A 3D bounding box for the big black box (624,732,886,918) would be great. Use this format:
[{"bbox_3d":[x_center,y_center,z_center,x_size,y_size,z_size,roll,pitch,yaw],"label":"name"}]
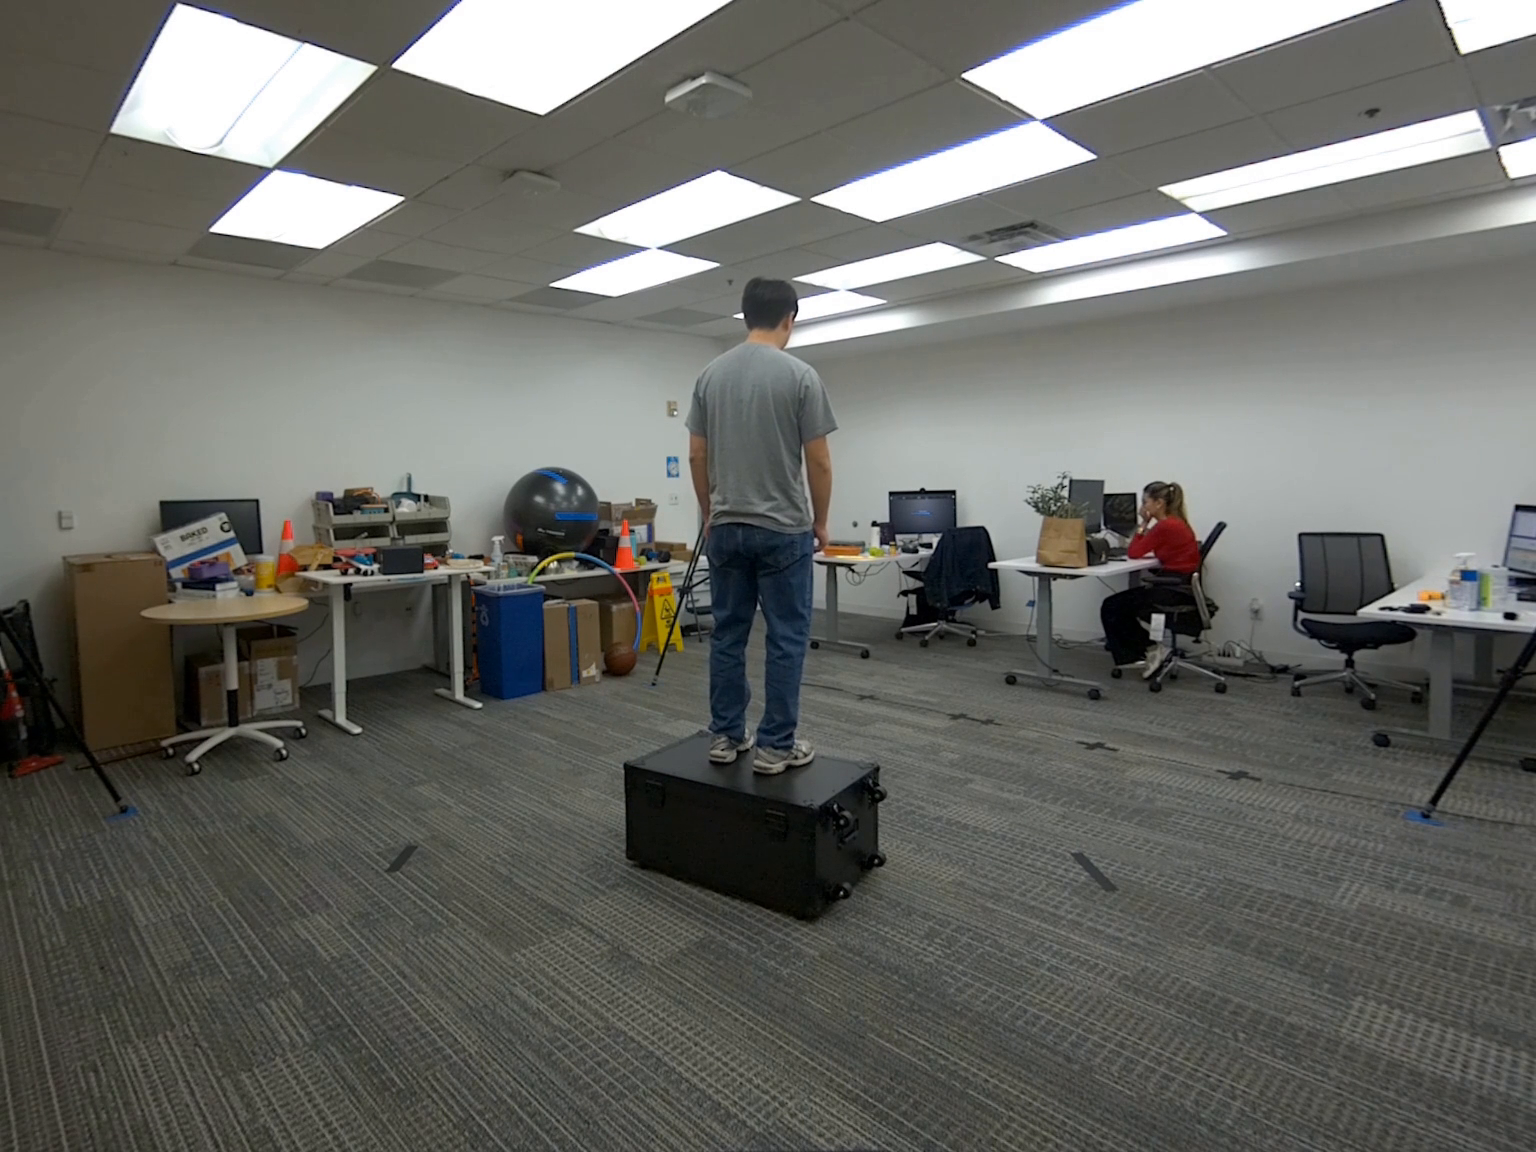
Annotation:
[{"bbox_3d":[-0.032,0.859,3.050,0.885,0.395,0.509,3,6,33],"label":"big black box"}]
